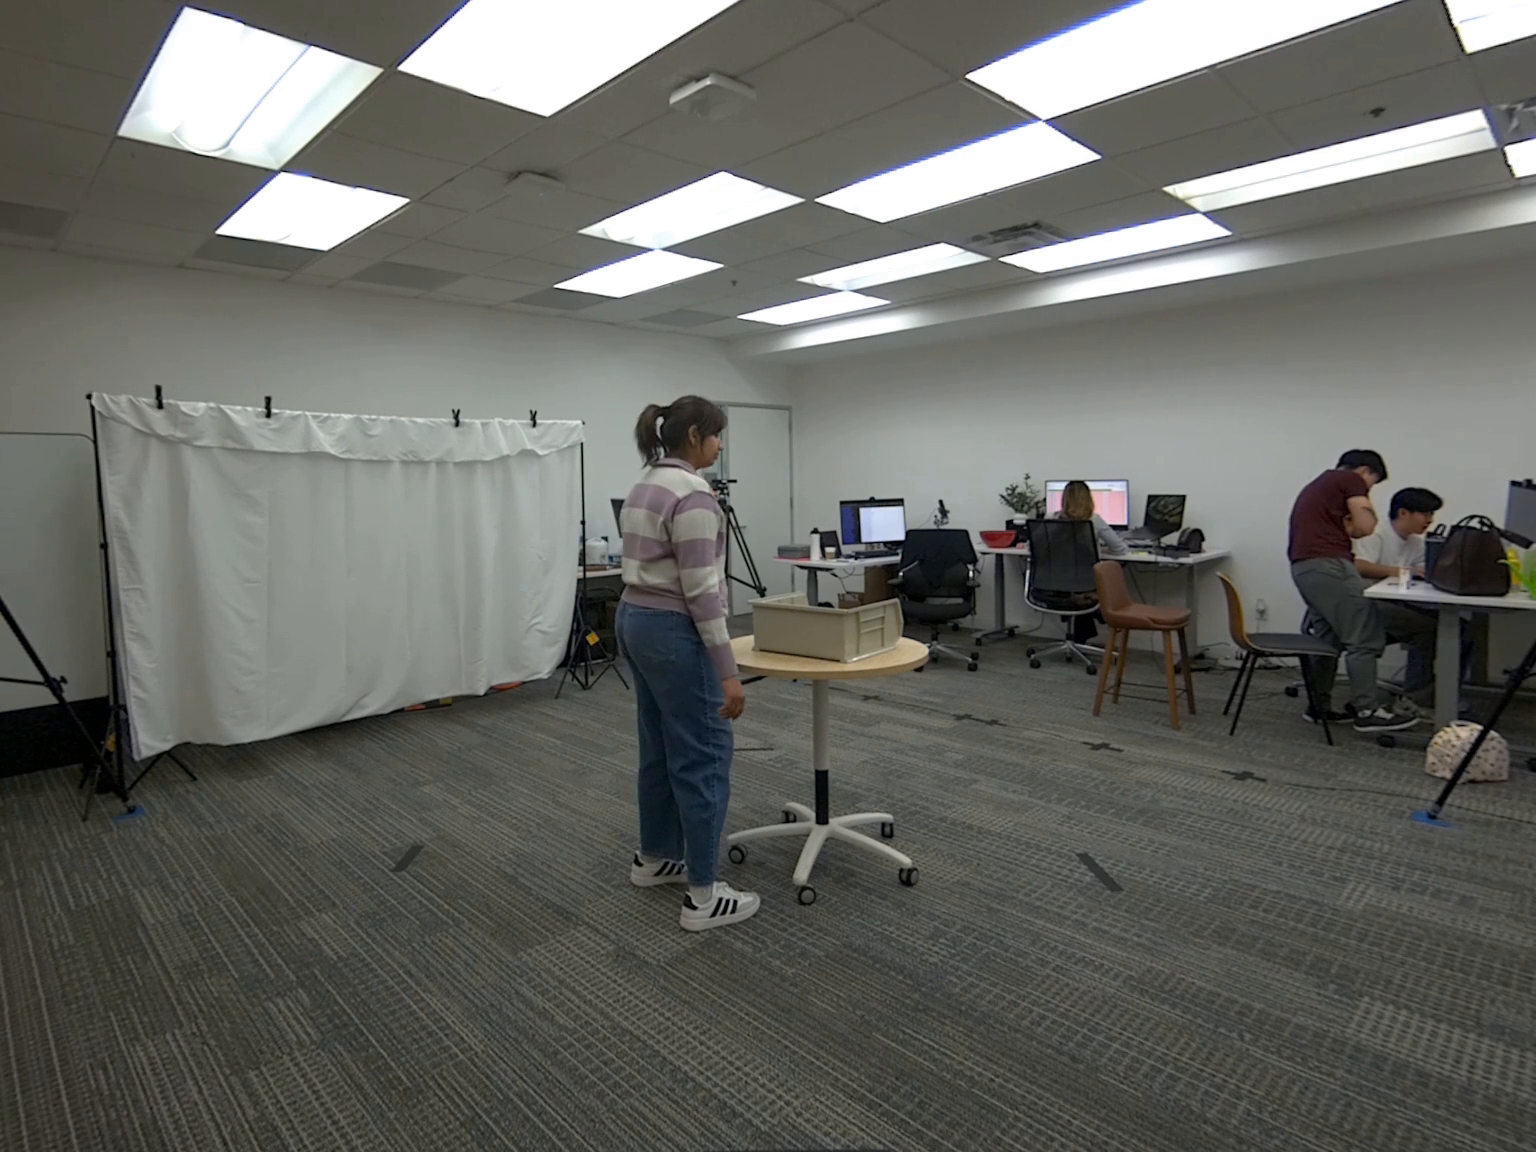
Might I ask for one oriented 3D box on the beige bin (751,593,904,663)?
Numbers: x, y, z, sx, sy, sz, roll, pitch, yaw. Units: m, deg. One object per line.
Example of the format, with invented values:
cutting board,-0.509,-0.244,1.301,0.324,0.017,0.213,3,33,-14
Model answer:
beige bin,0.208,0.171,3.068,0.435,0.188,0.368,3,9,39
